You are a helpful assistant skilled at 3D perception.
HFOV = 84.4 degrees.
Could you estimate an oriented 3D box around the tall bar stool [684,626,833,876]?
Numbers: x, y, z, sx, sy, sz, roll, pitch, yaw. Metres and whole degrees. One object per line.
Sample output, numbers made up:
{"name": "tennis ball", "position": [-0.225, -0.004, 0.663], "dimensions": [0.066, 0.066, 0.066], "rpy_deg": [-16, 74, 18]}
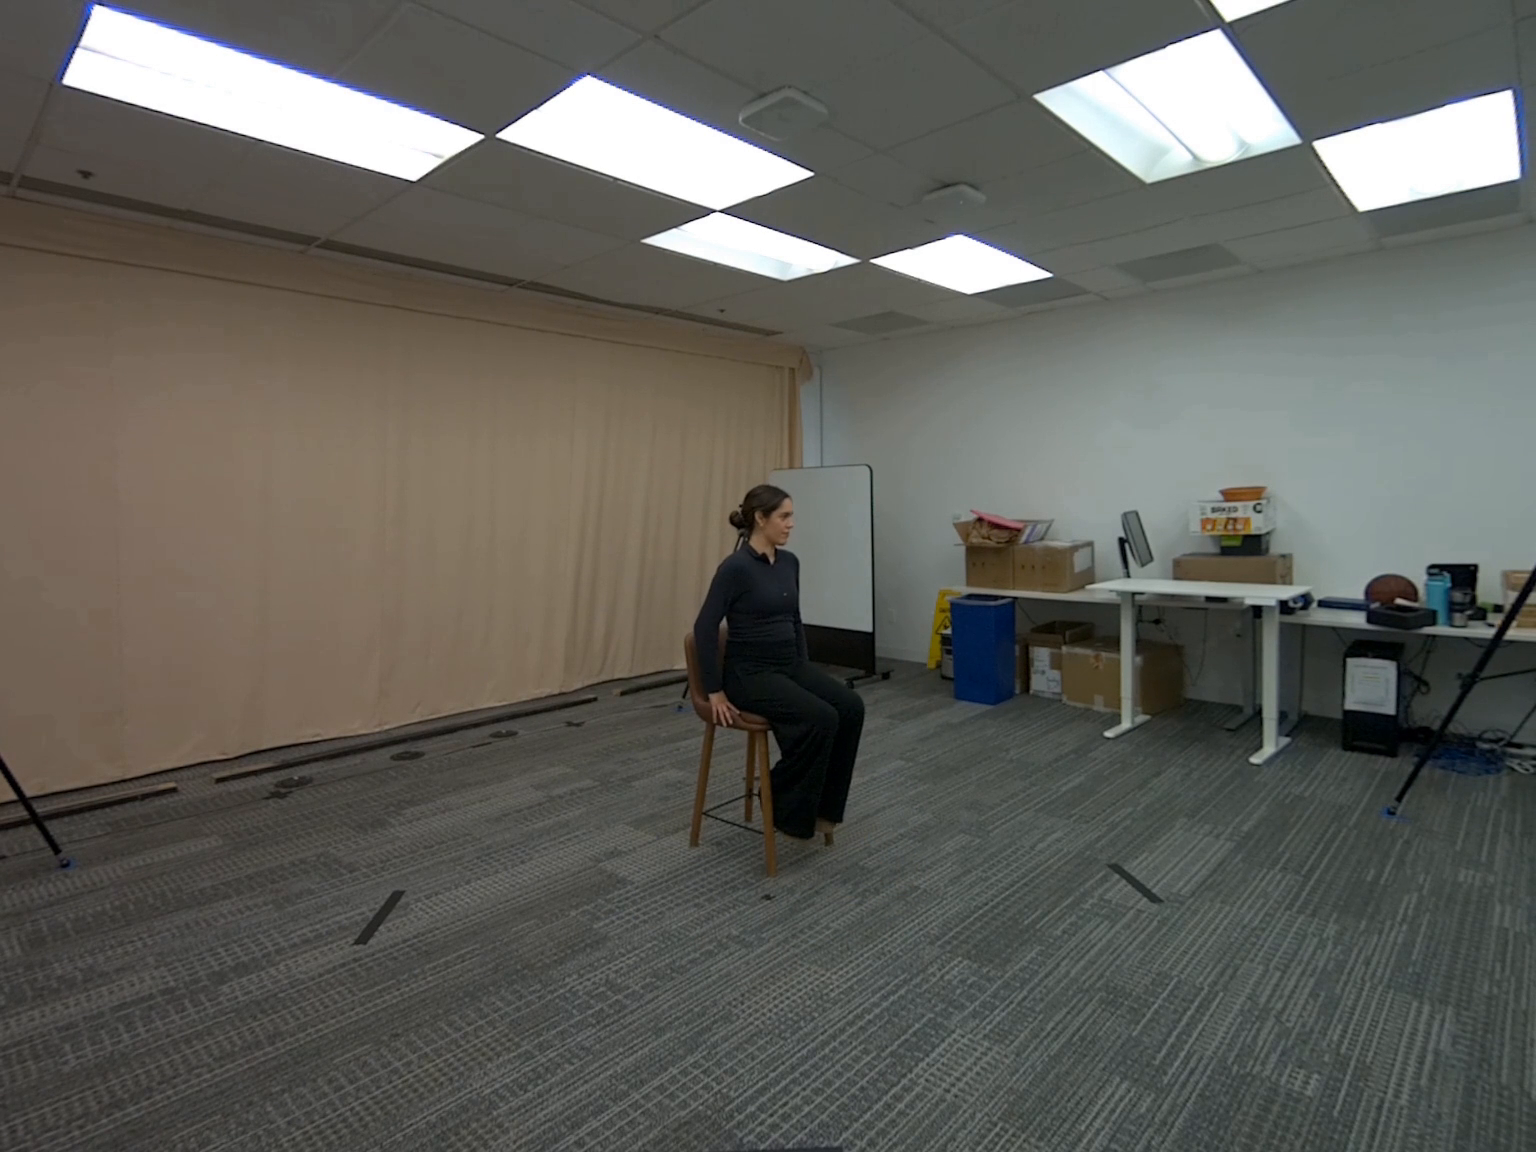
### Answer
{"name": "tall bar stool", "position": [-0.044, 0.669, 3.432], "dimensions": [0.482, 0.889, 0.442], "rpy_deg": [-1, 2, 41]}
